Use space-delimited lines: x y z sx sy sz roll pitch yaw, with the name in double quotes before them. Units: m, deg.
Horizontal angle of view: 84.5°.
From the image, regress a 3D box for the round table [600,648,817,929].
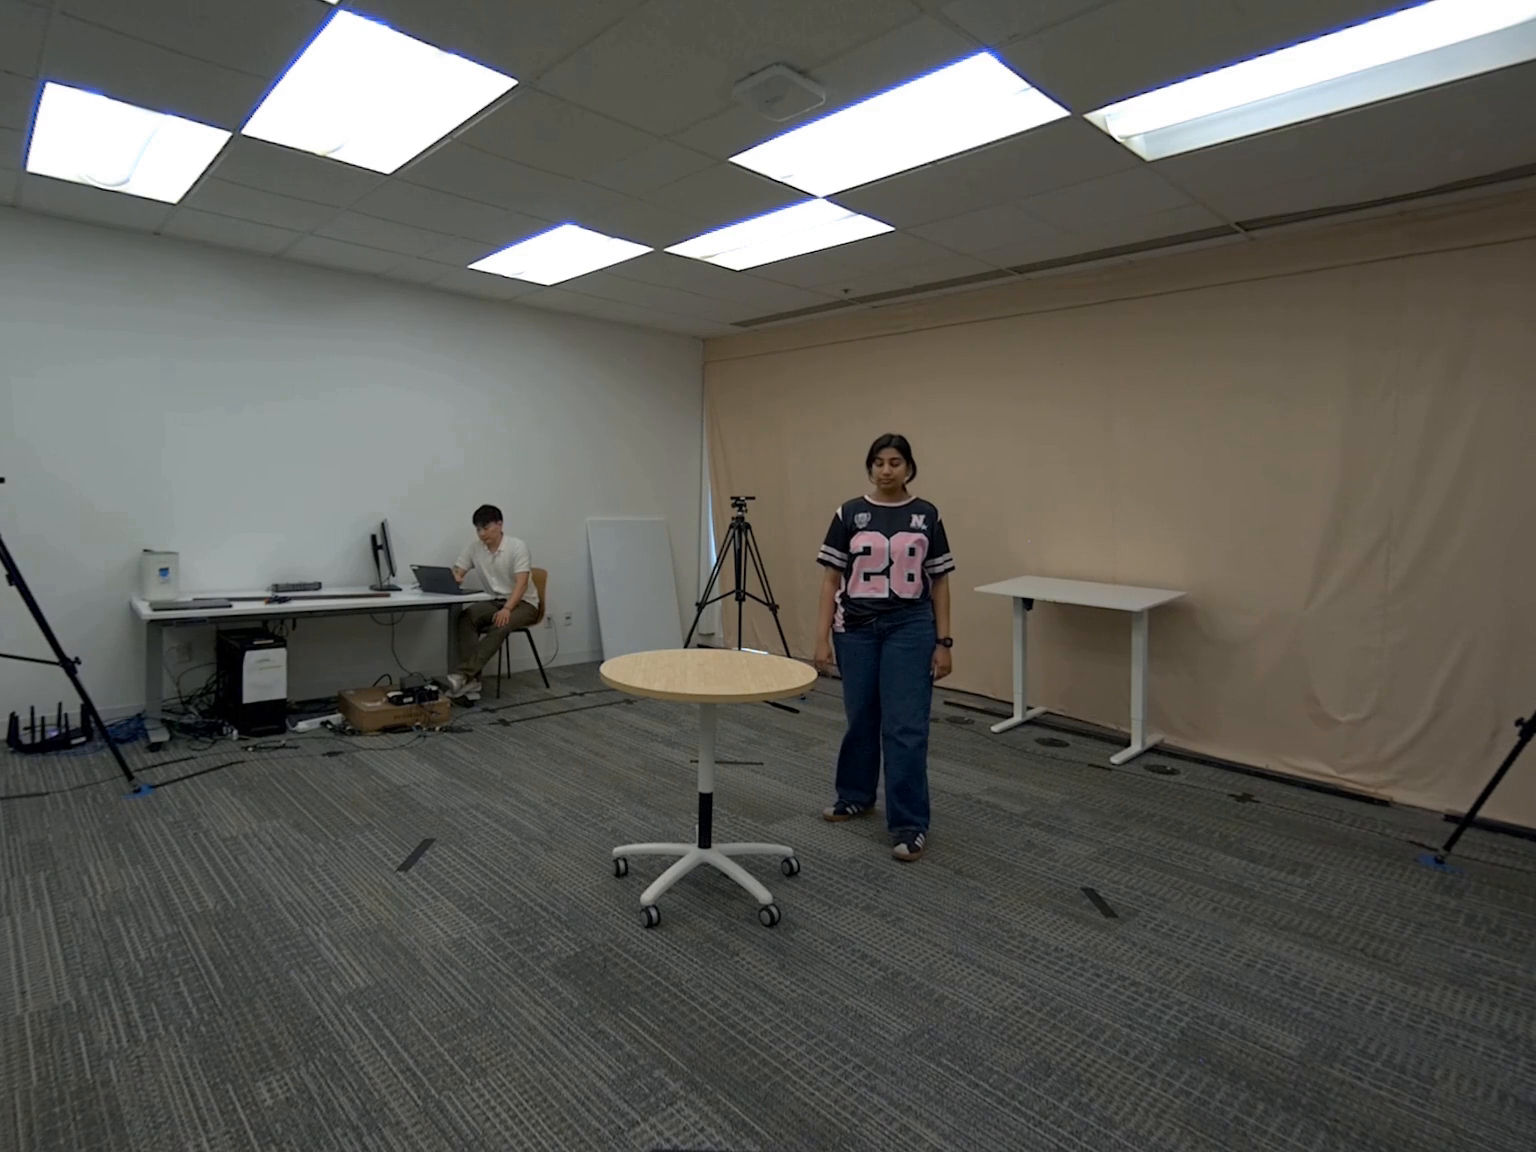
"round table" -0.224 0.724 2.998 0.763 0.792 0.767 1 4 -1
